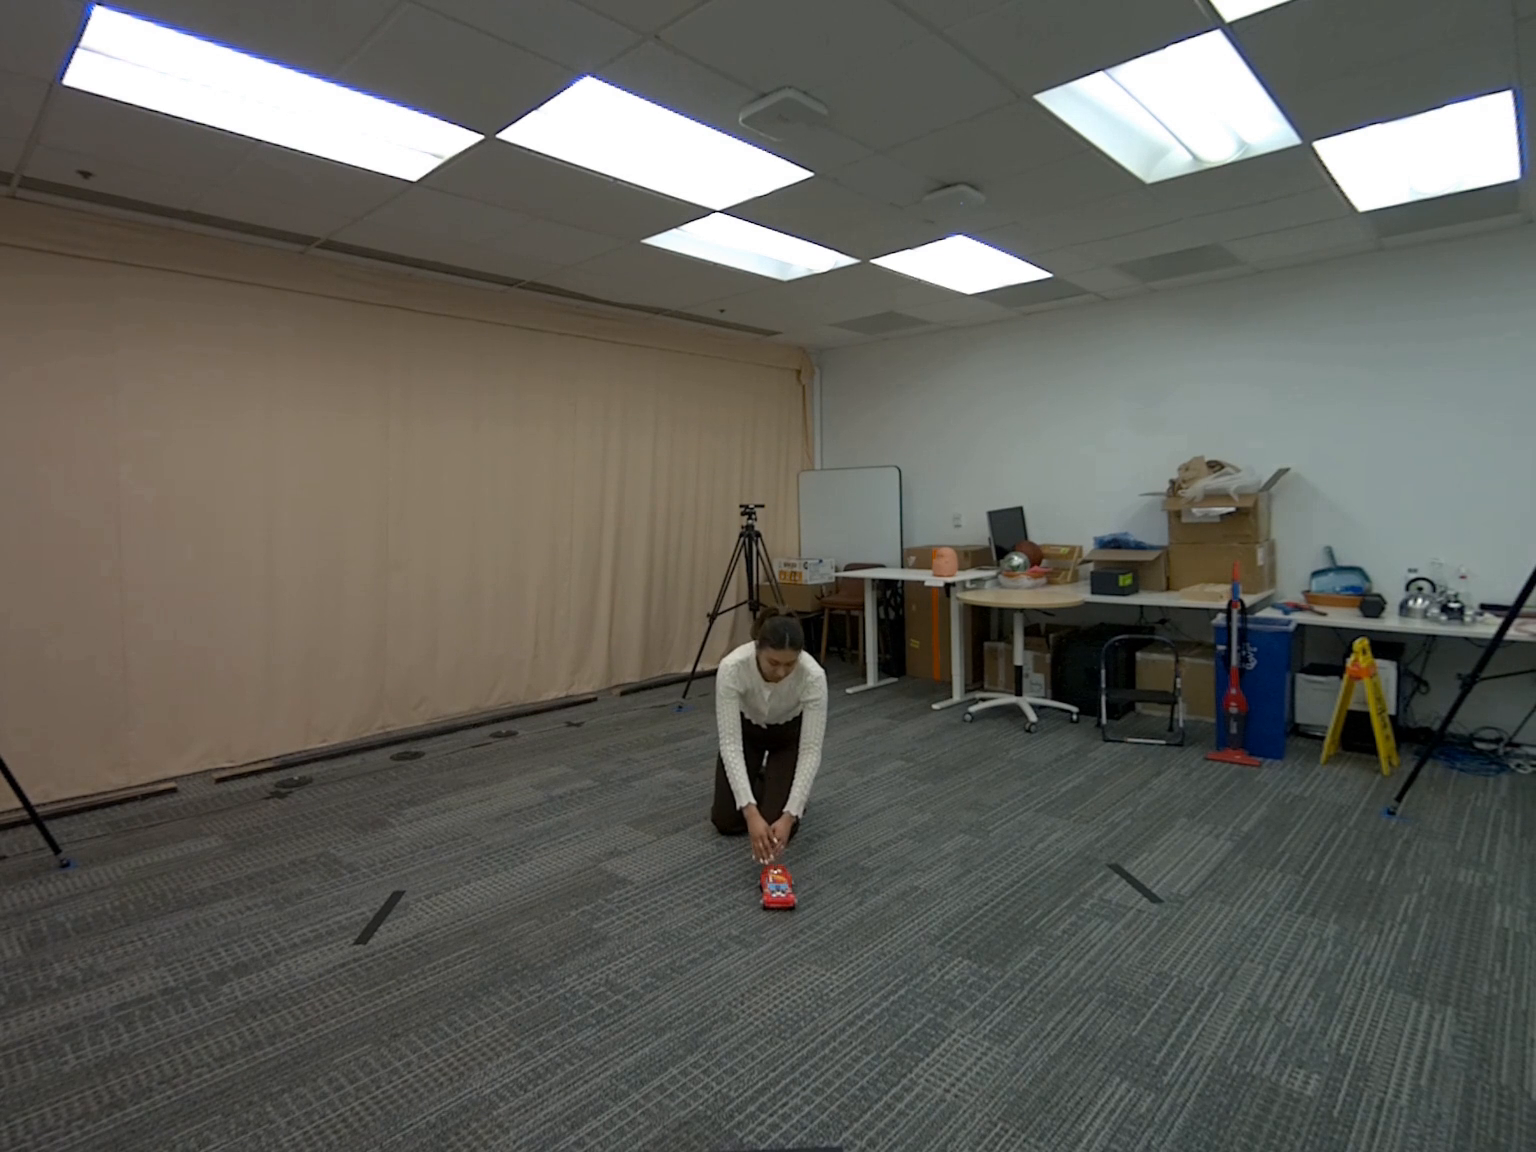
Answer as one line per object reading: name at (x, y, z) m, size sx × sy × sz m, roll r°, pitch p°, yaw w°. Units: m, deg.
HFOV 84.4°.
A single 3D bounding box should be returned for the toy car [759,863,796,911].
toy car at (0.025, 1.100, 2.997) m, size 0.130 × 0.082 × 0.257 m, roll -2°, pitch 16°, yaw -2°
